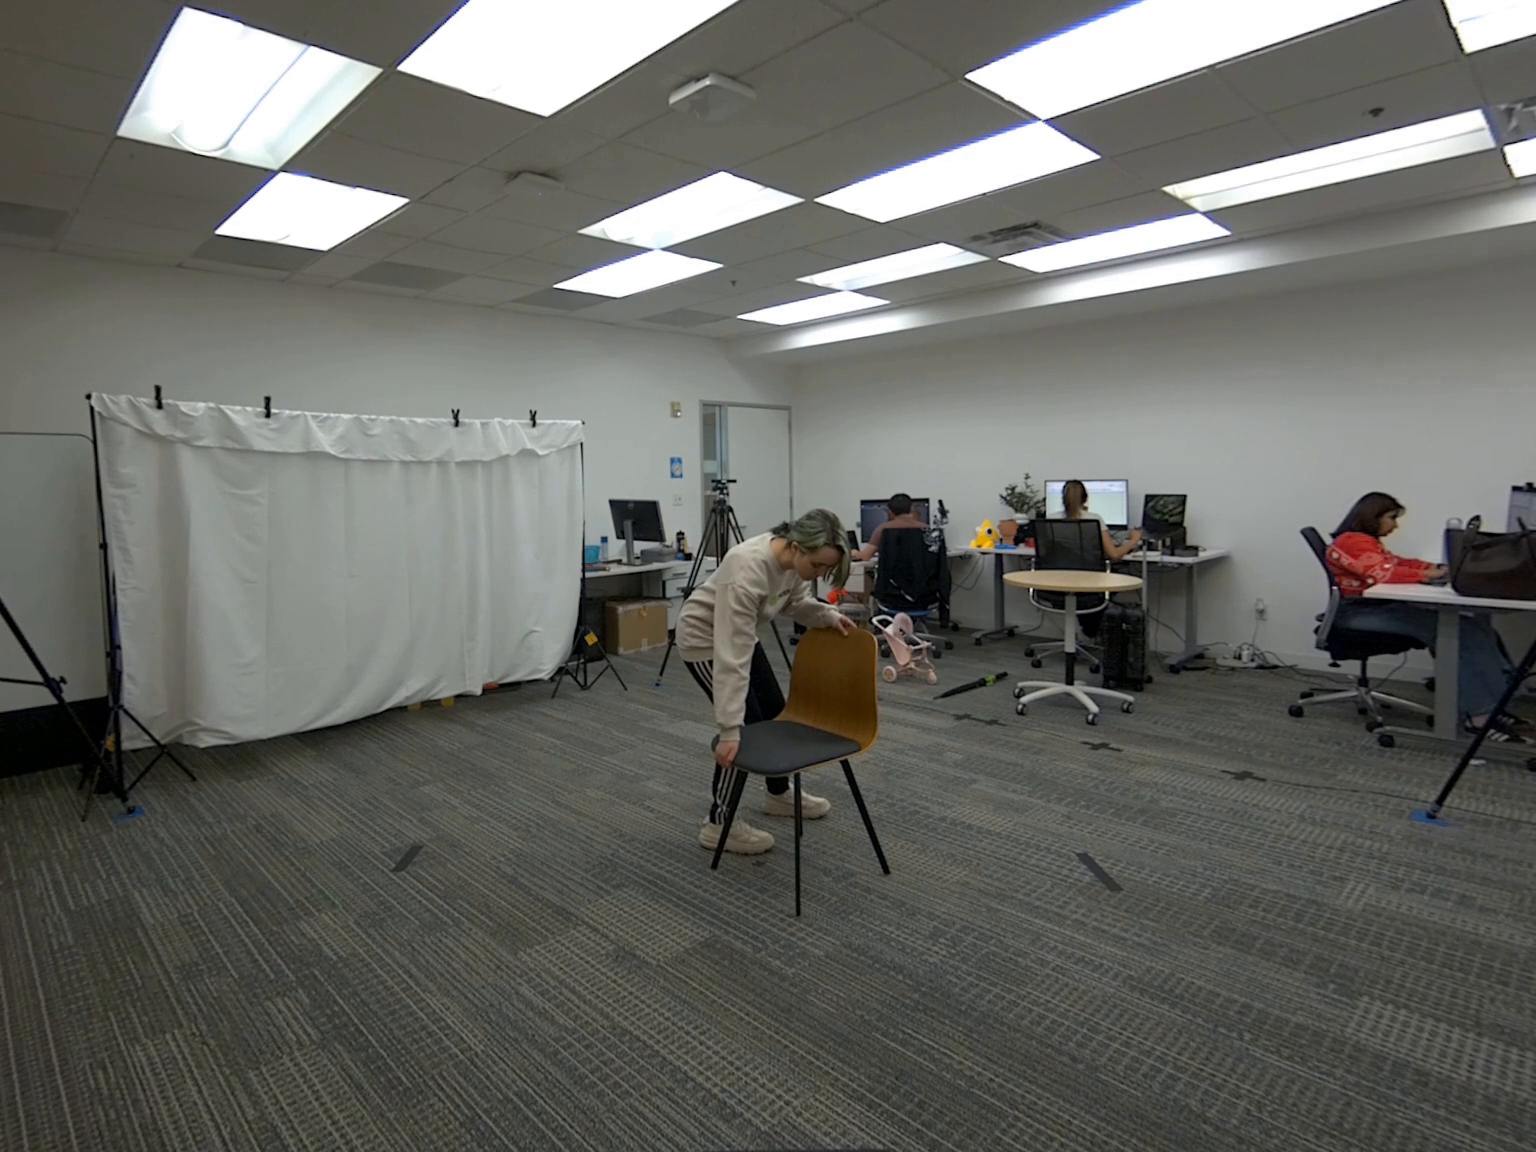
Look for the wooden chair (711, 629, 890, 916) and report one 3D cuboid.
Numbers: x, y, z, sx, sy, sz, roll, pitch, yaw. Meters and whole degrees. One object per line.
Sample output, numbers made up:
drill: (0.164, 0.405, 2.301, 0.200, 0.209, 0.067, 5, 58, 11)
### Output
wooden chair: (0.110, 0.632, 2.994, 0.508, 0.877, 0.492, 1, 1, -40)
